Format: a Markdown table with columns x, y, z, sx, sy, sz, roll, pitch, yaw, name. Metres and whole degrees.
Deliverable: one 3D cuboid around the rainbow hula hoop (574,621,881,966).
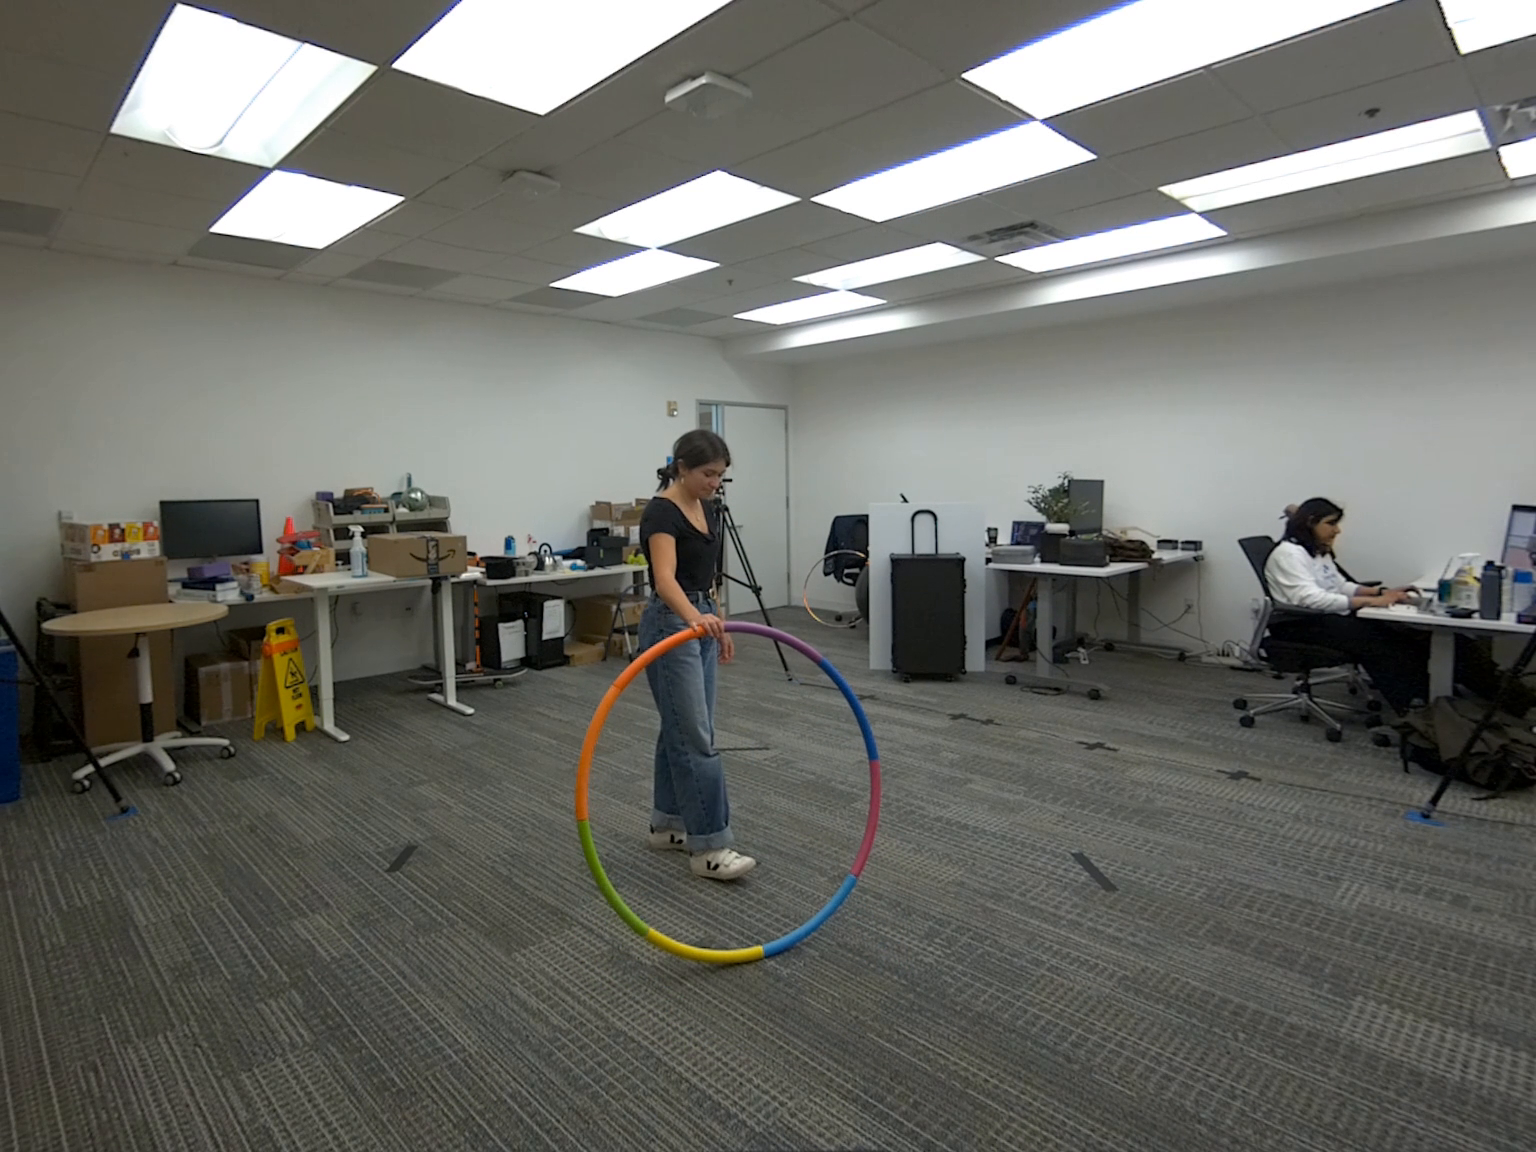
| x | y | z | sx | sy | sz | roll | pitch | yaw | name |
| --- | --- | --- | --- | --- | --- | --- | --- | --- | --- |
| -0.081 | 0.630 | 2.568 | 0.959 | 0.987 | 0.036 | -3 | -10 | -24 | rainbow hula hoop |
